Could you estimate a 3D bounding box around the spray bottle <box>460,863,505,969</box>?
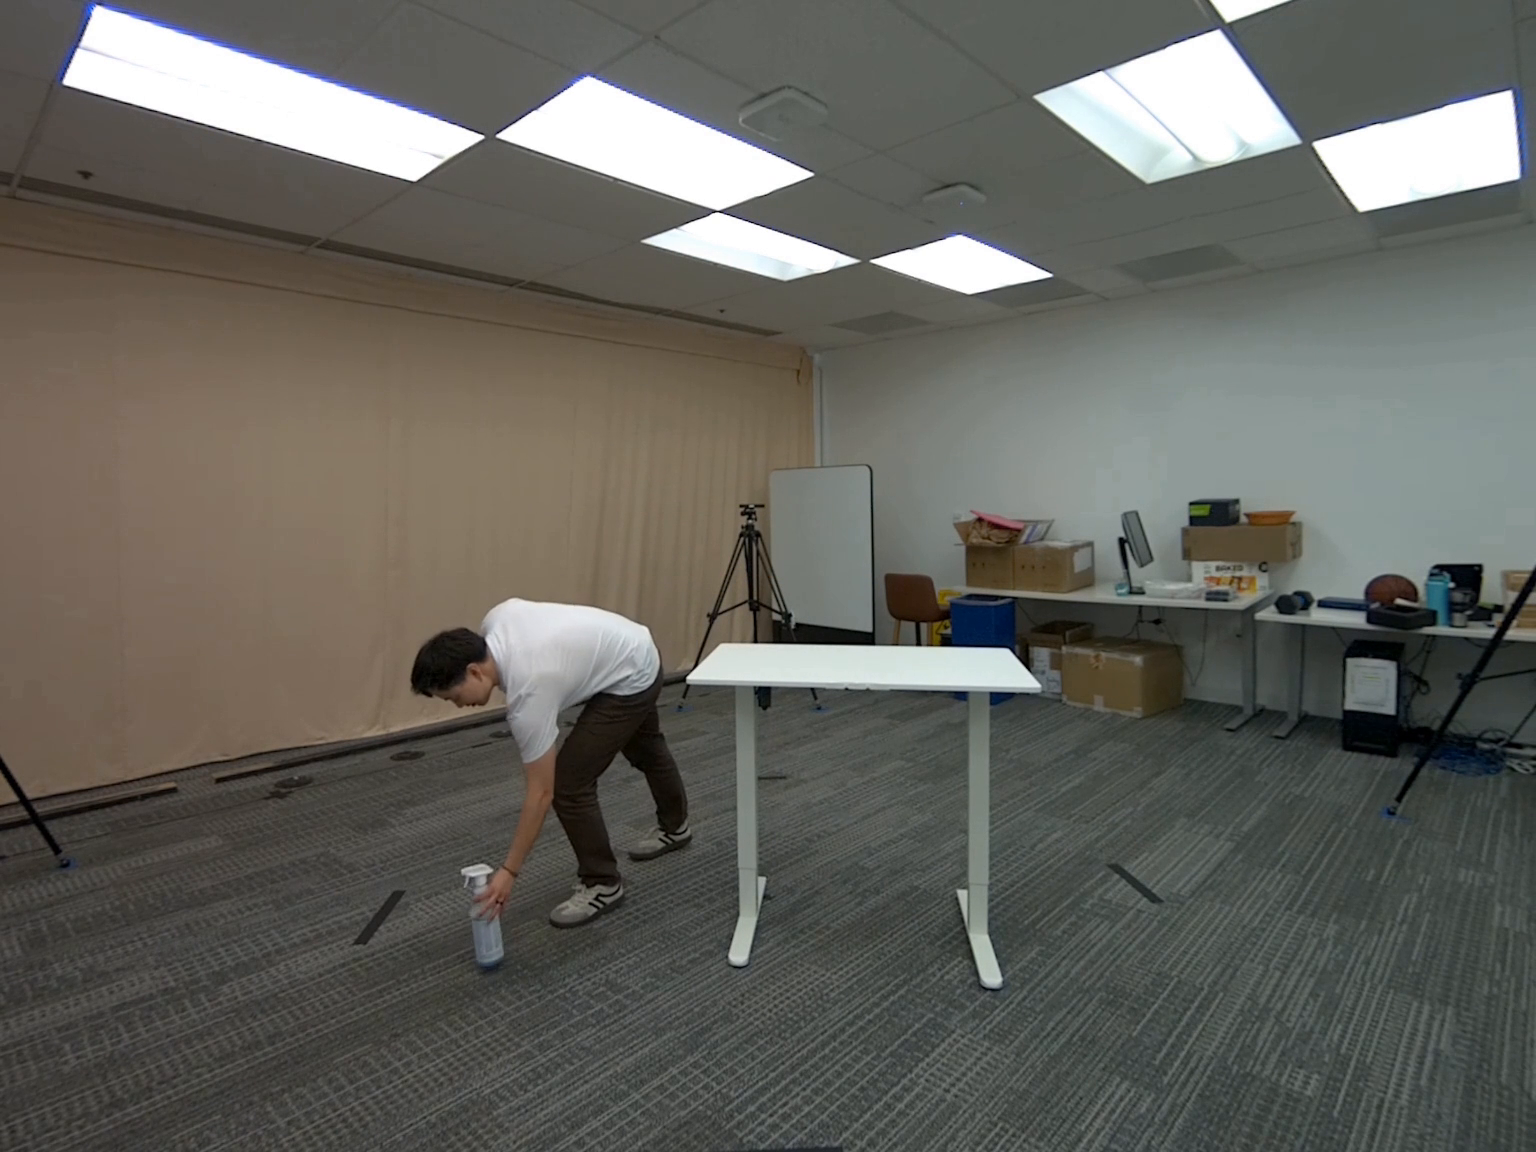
[{"bbox_3d":[-0.856,1.009,2.555,0.090,0.296,0.087,-7,4,-1],"label":"spray bottle"}]
